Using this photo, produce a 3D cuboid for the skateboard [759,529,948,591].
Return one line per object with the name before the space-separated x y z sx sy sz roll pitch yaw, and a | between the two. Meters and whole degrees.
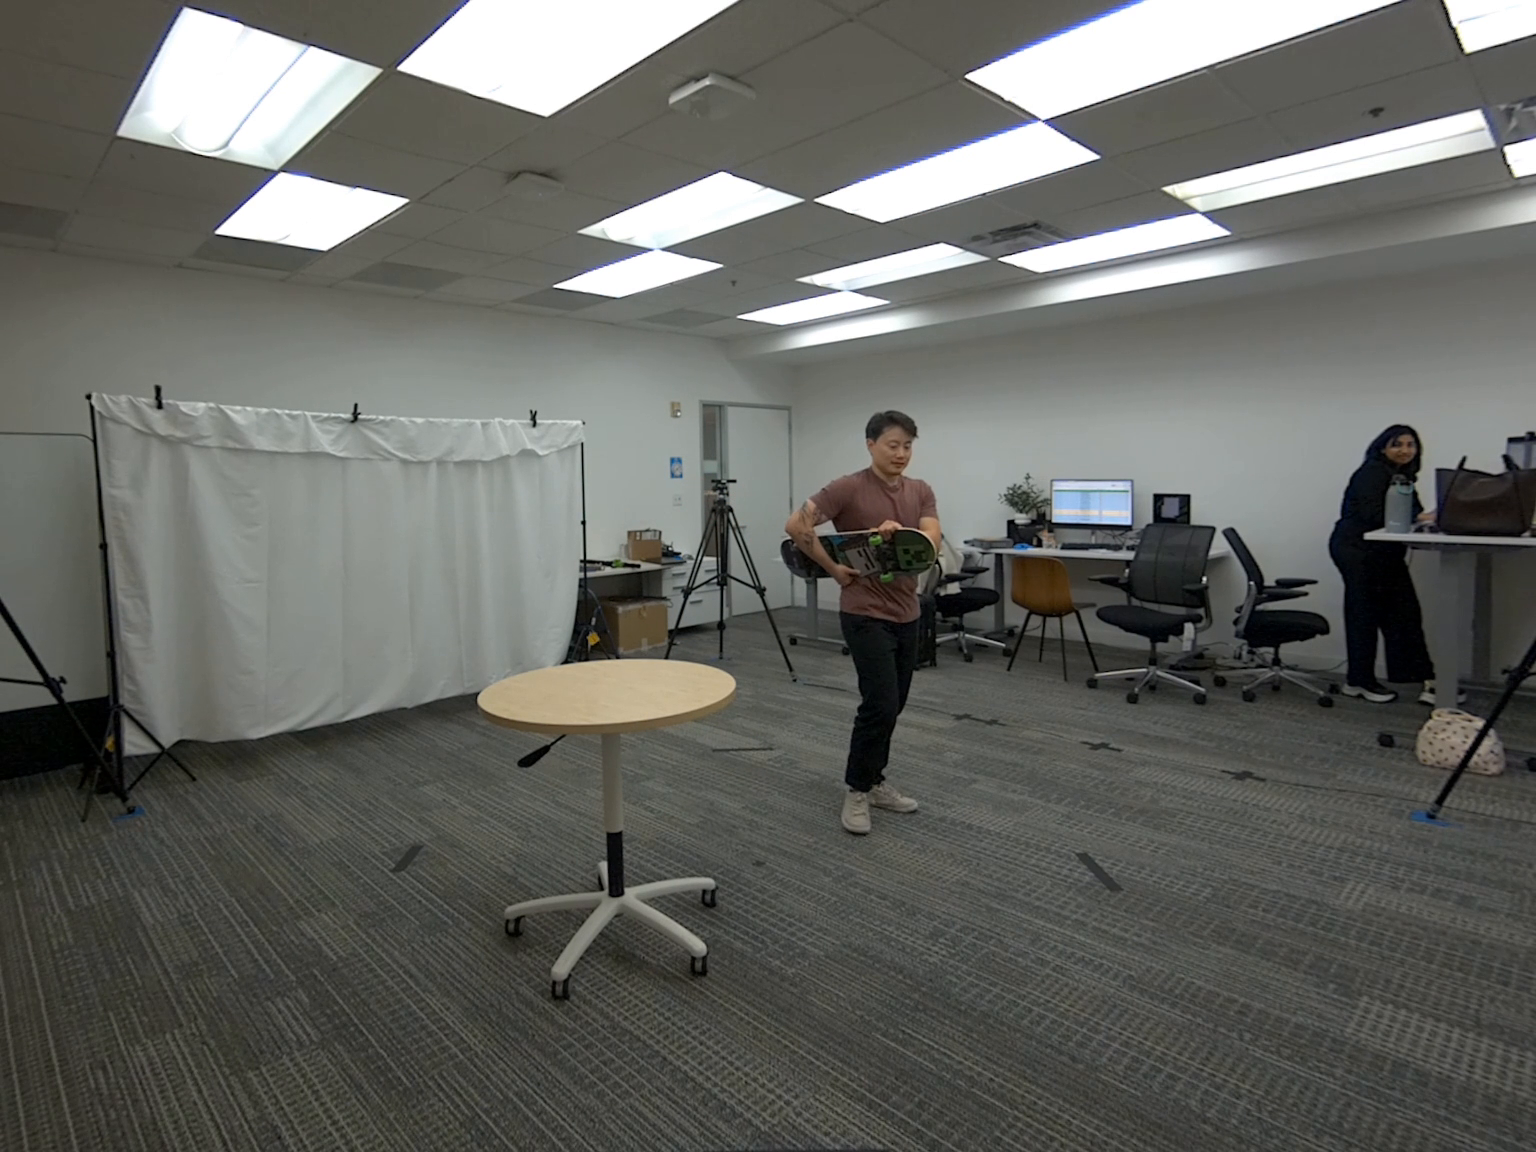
skateboard | 0.316 -0.066 3.435 0.807 0.190 0.109 -3 23 44
